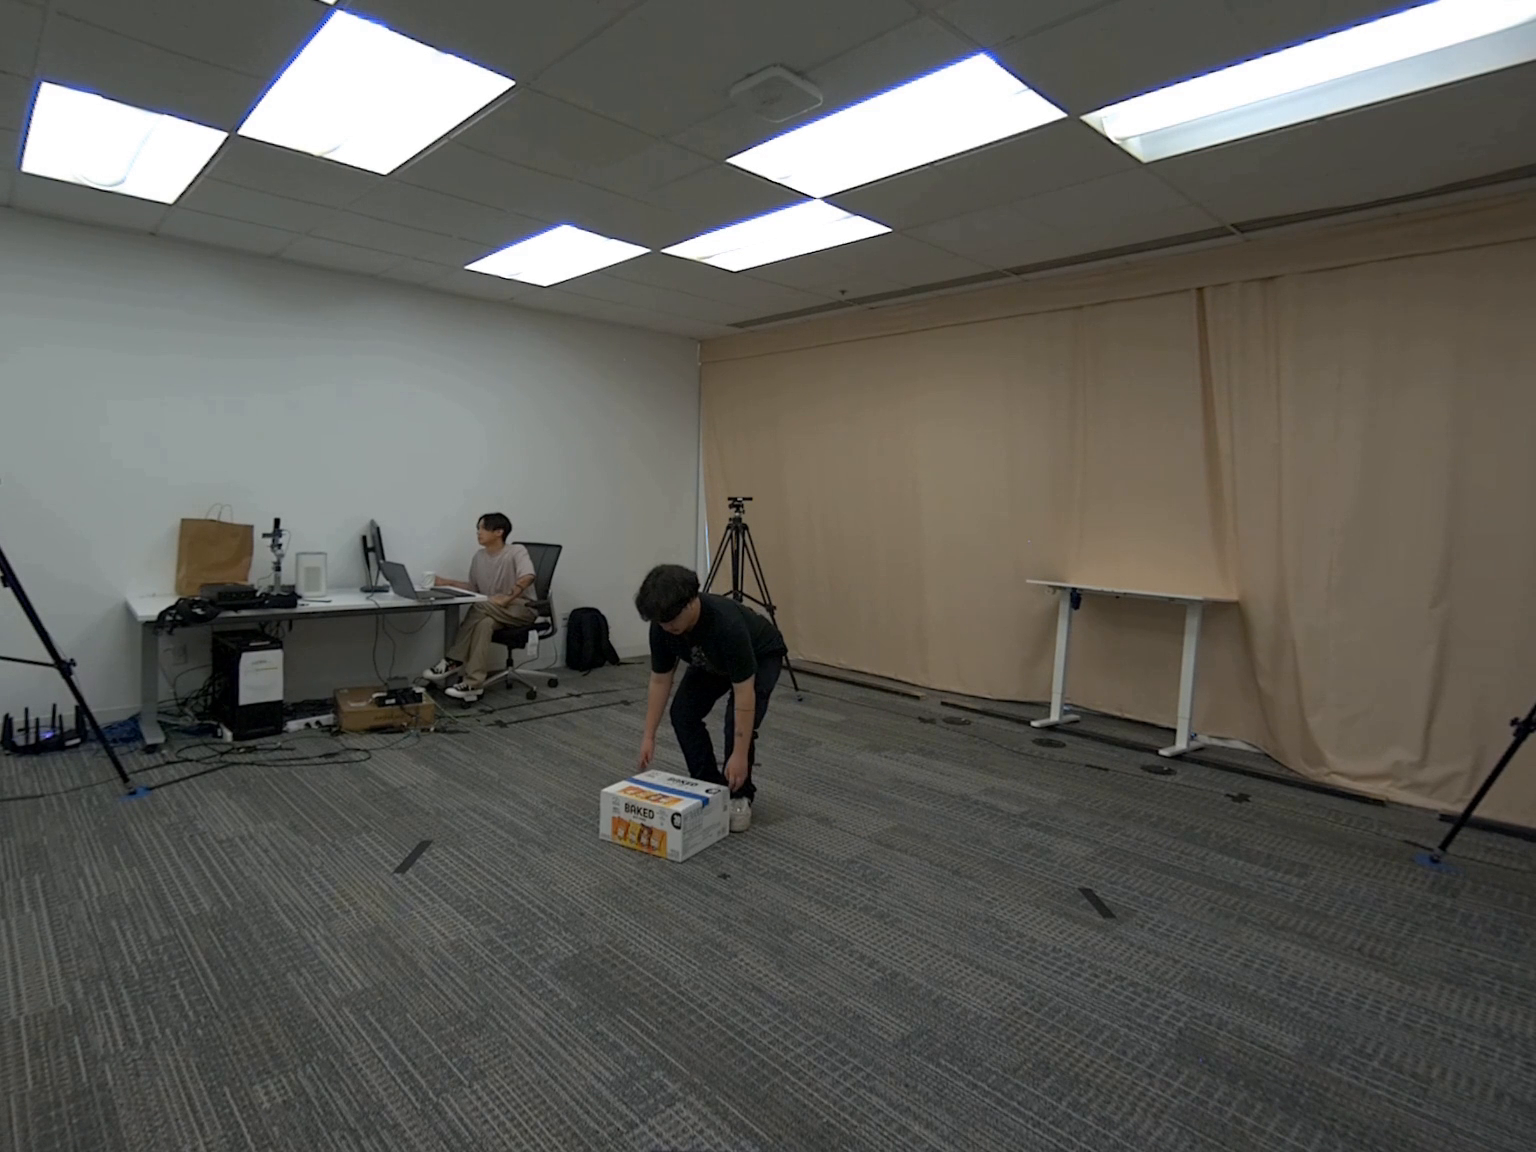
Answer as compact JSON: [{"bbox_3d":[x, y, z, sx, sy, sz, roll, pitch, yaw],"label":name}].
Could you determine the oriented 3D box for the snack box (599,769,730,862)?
[{"bbox_3d":[-0.427,0.968,3.436,0.414,0.205,0.333,5,5,31],"label":"snack box"}]
